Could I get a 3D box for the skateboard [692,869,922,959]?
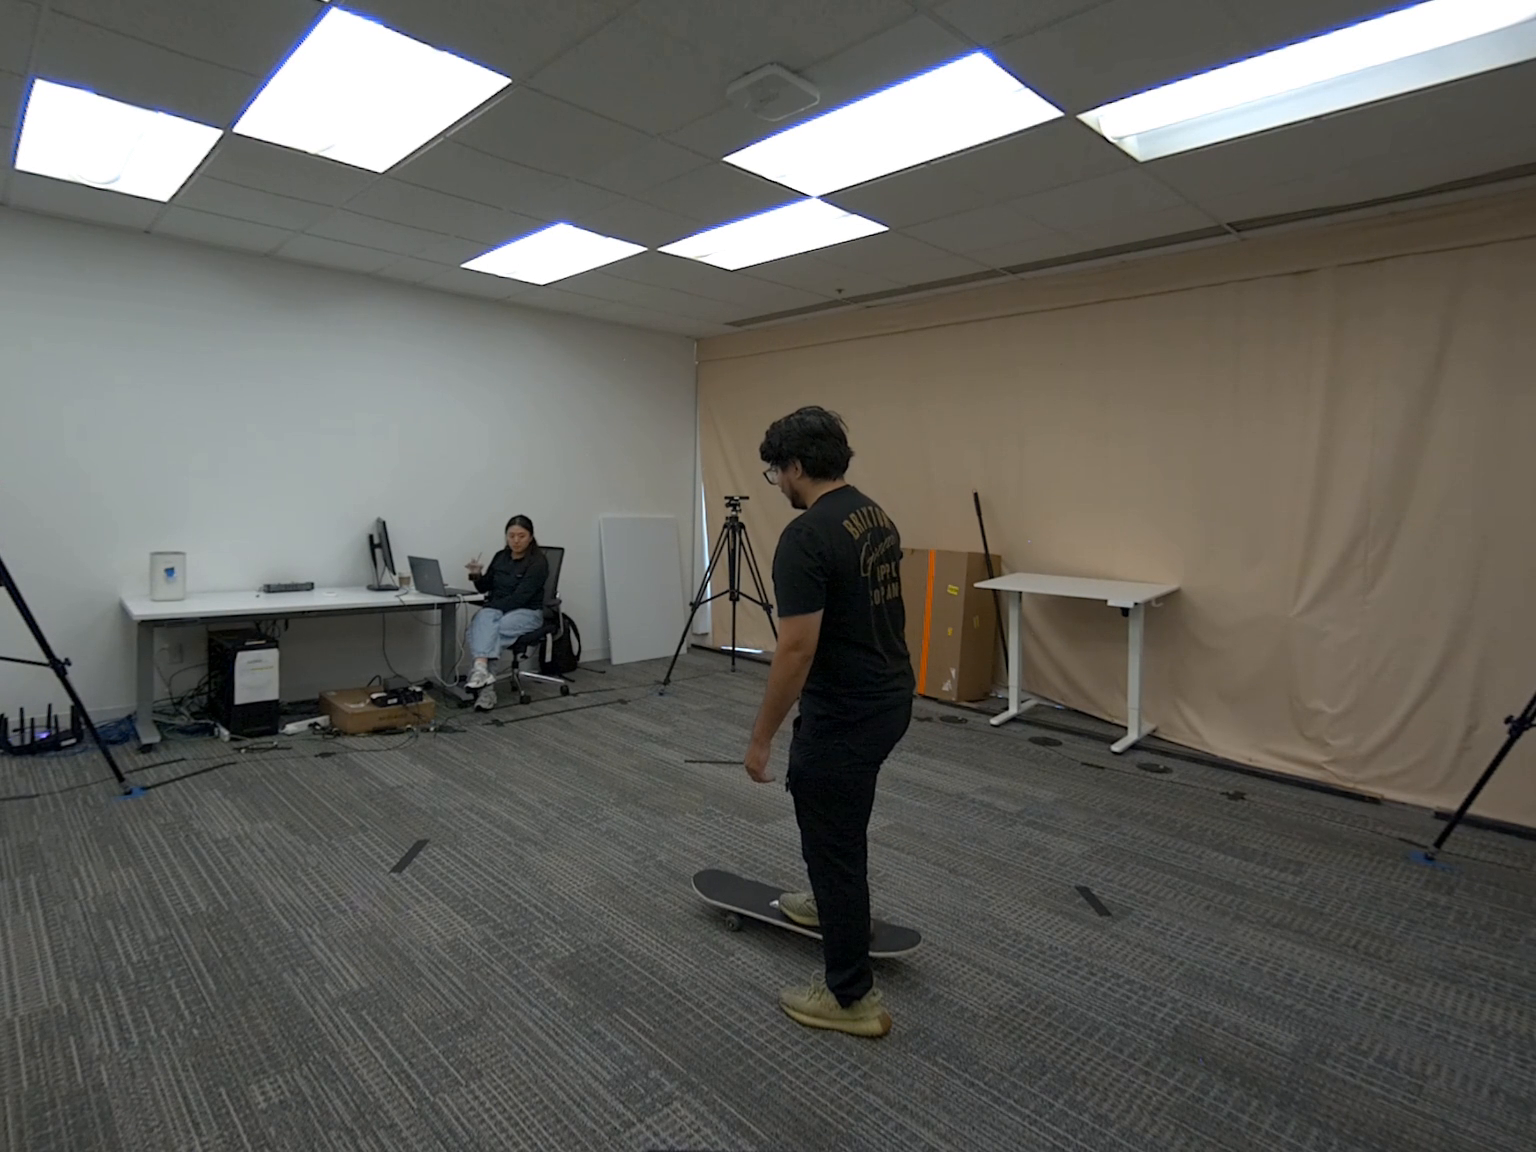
[{"bbox_3d":[0.089,1.095,2.665,0.803,0.110,0.190,5,7,31],"label":"skateboard"}]
